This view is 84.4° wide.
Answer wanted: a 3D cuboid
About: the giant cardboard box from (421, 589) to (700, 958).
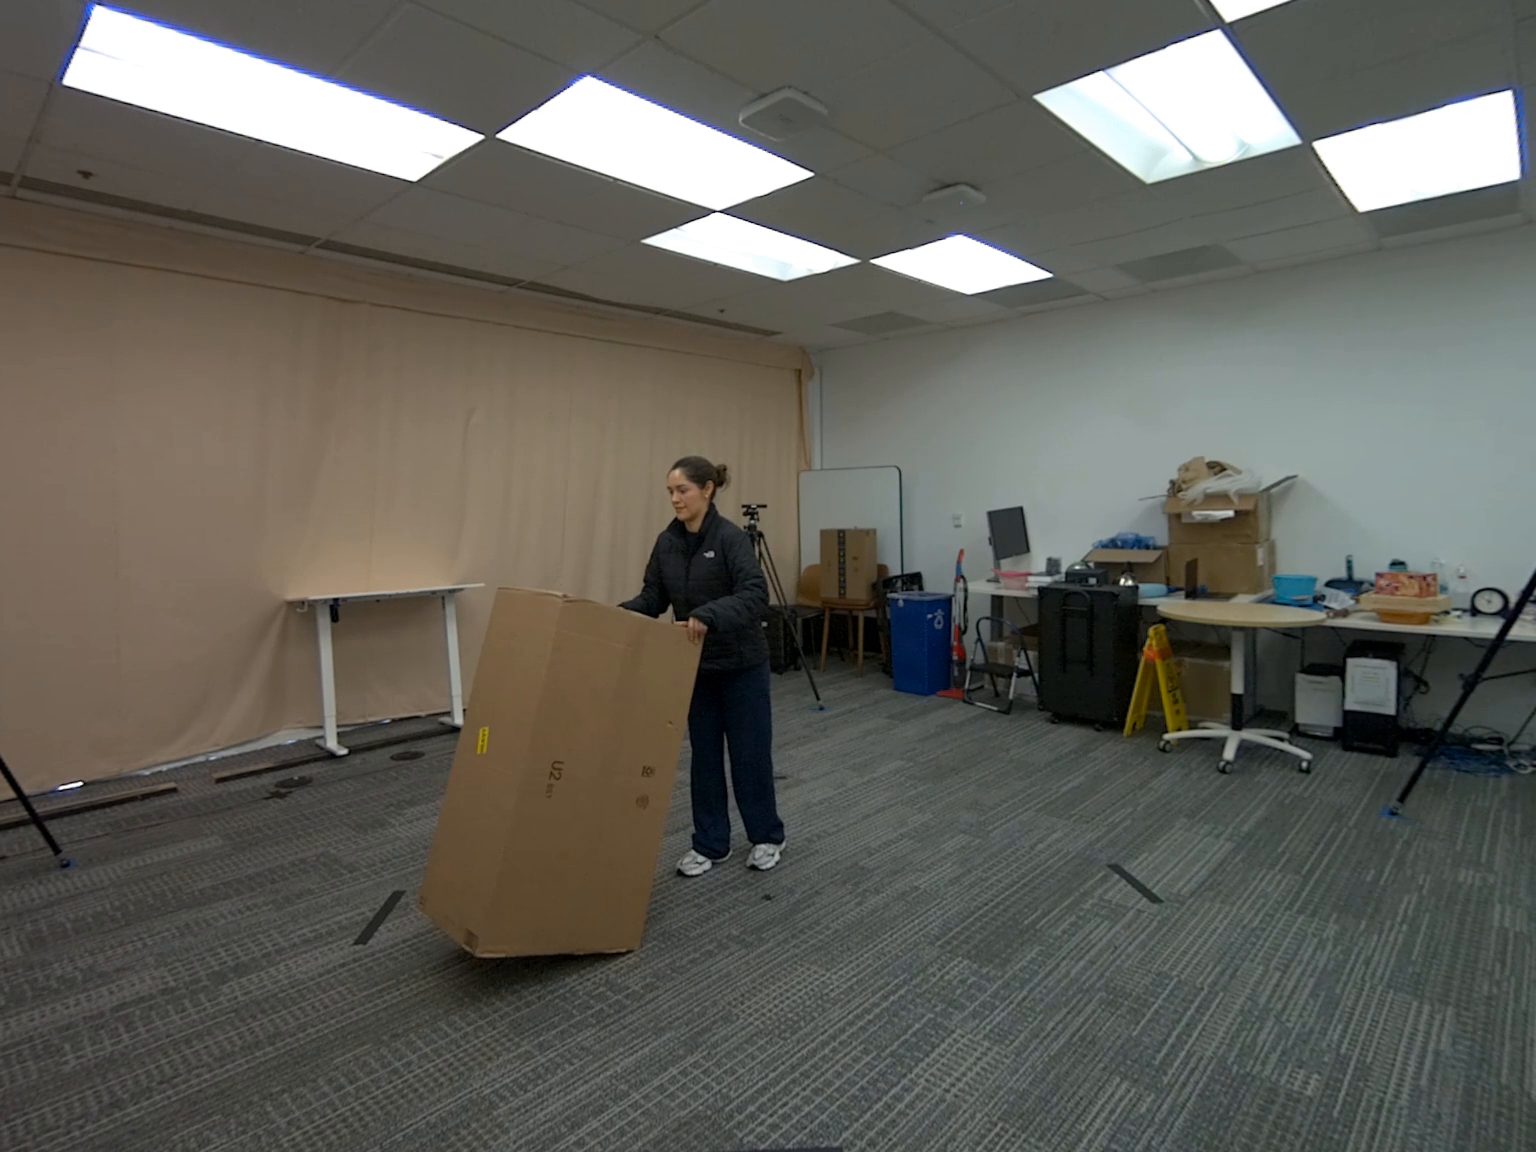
[{"bbox_3d":[-0.636,0.608,2.709,0.563,1.031,0.461,20,-13,-41],"label":"giant cardboard box"}]
